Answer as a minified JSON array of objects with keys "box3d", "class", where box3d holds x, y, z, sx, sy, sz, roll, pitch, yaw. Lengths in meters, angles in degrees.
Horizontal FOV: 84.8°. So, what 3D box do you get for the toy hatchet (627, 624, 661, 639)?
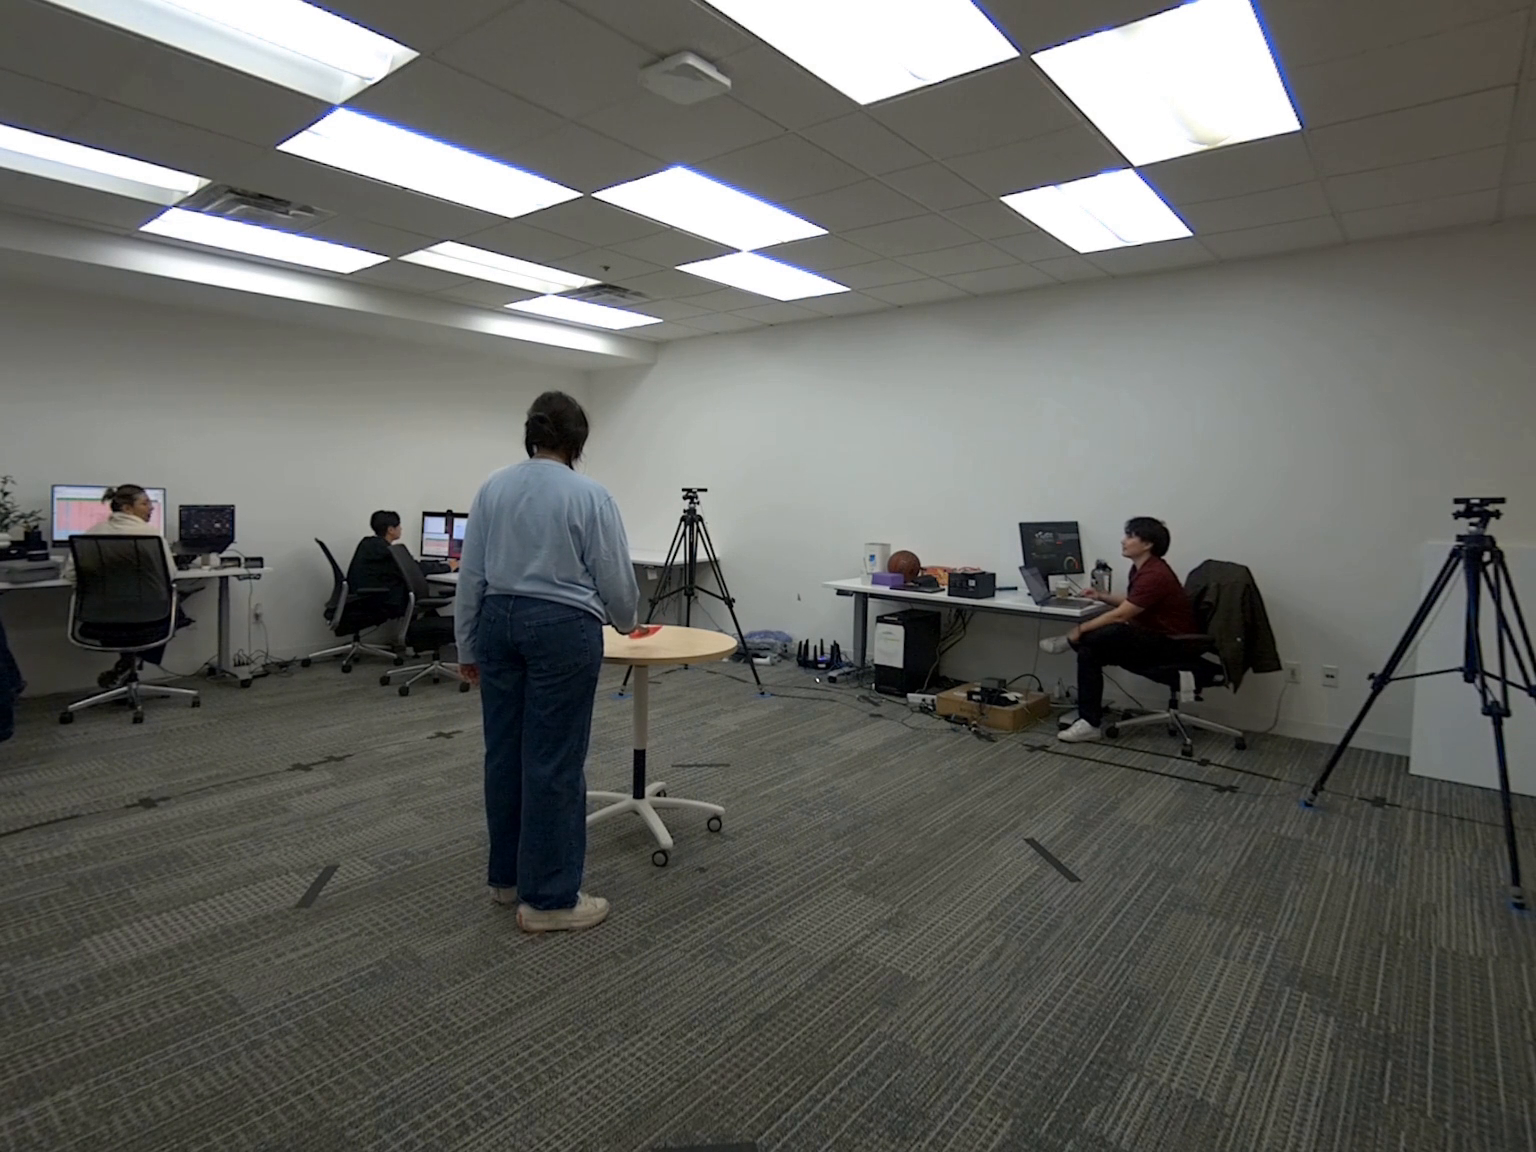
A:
[{"box3d":[-0.524,0.202,3.159,0.133,0.030,0.261,-22,-14,25],"class":"toy hatchet"}]
